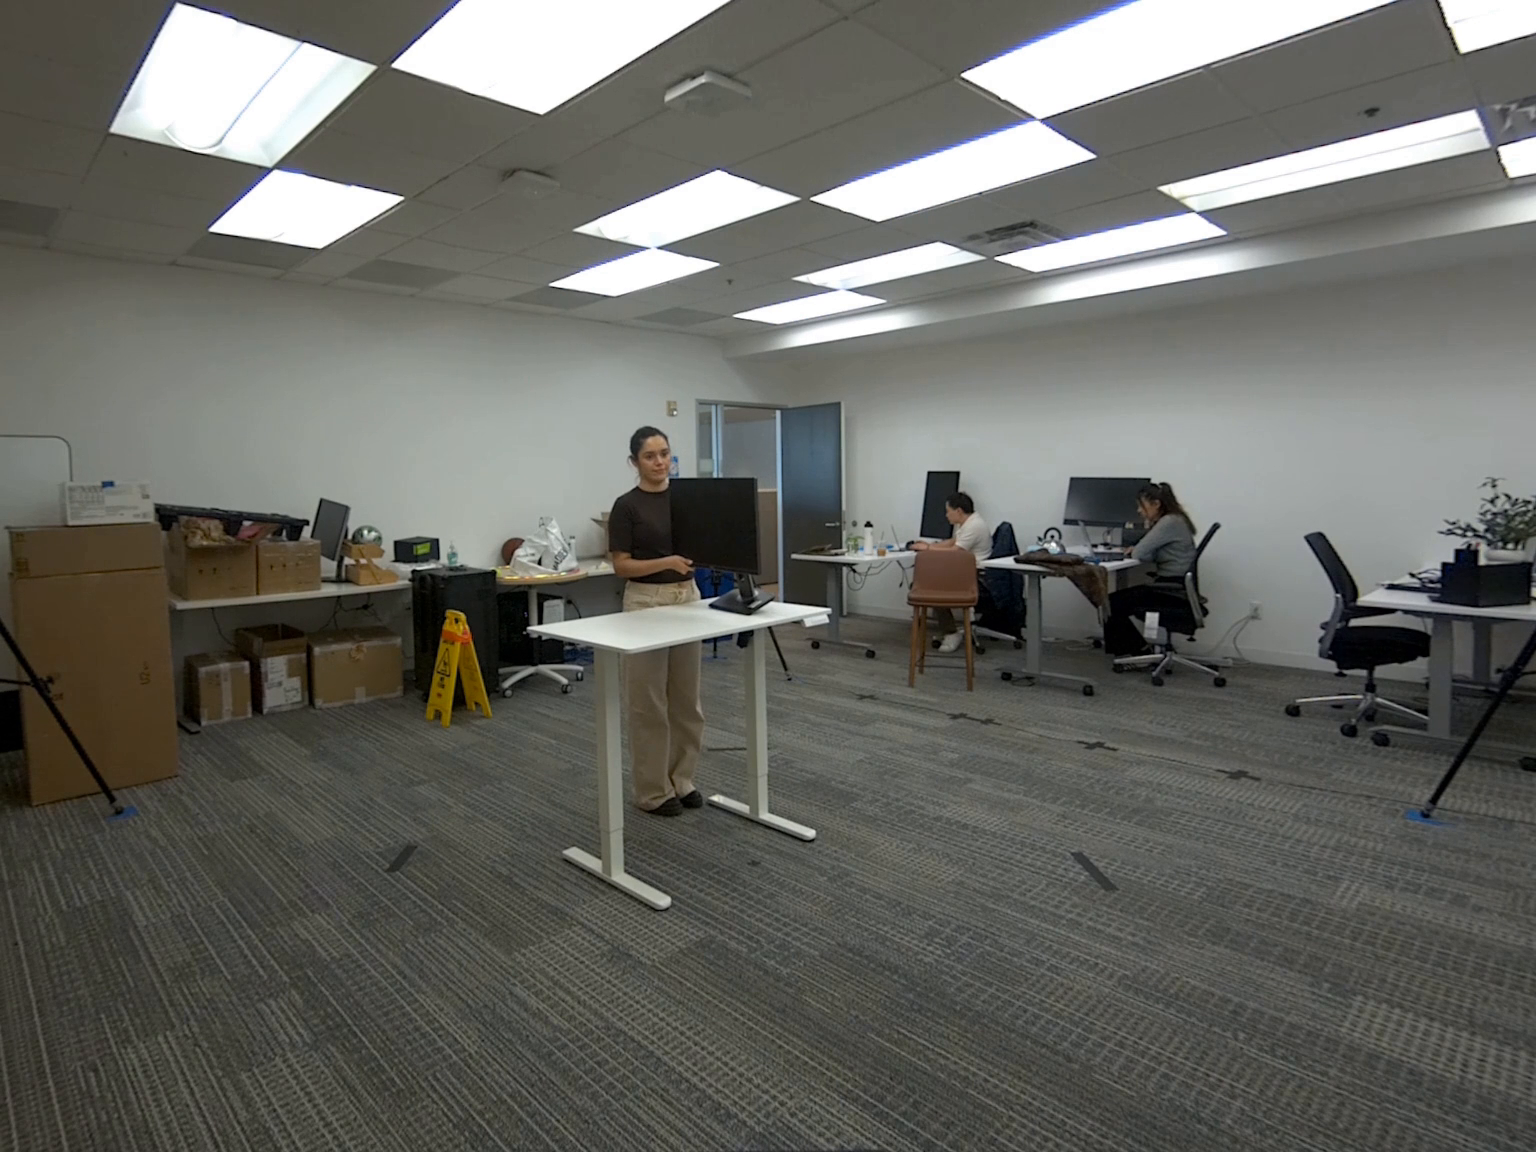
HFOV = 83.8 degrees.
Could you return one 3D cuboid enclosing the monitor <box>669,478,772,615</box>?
[{"bbox_3d":[-0.168,-0.127,3.297,0.184,0.514,0.556,-24,19,-36],"label":"monitor"}]
